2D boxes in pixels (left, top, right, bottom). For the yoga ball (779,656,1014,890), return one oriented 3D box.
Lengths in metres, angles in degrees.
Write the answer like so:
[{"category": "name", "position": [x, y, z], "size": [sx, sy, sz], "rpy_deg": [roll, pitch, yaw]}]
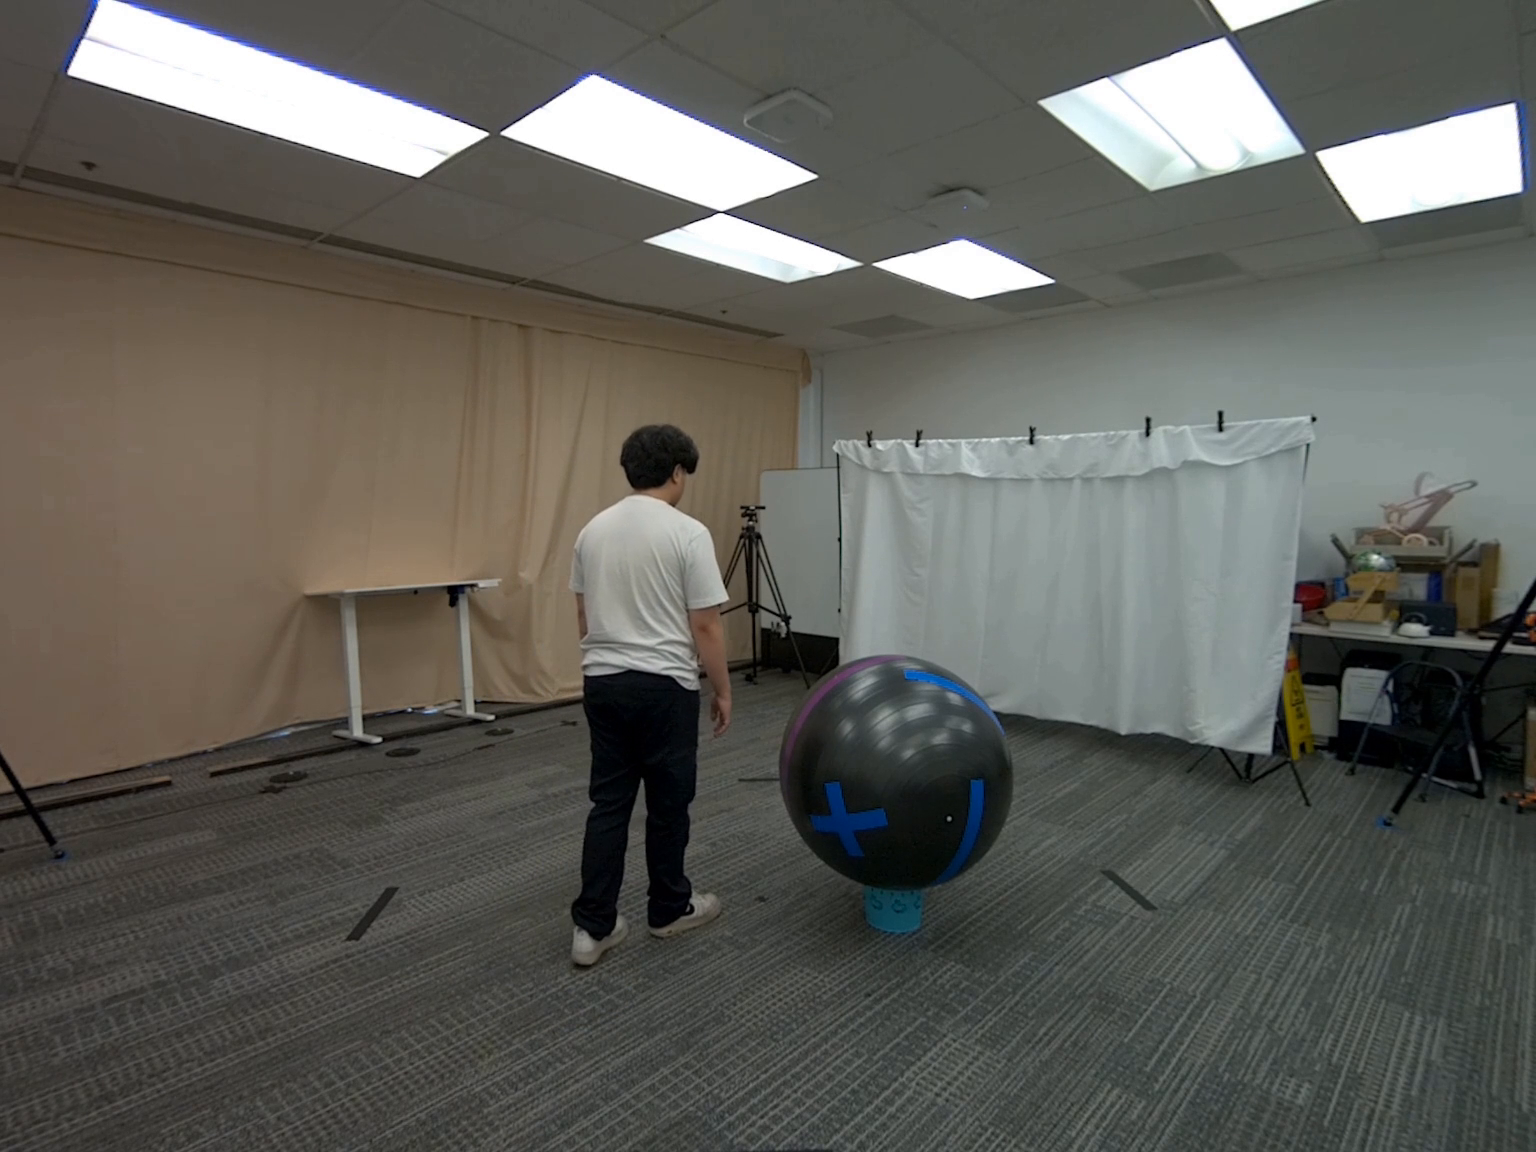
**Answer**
[{"category": "yoga ball", "position": [0.435, 0.647, 2.813], "size": [0.757, 0.756, 0.760], "rpy_deg": [0, 4, -2]}]
